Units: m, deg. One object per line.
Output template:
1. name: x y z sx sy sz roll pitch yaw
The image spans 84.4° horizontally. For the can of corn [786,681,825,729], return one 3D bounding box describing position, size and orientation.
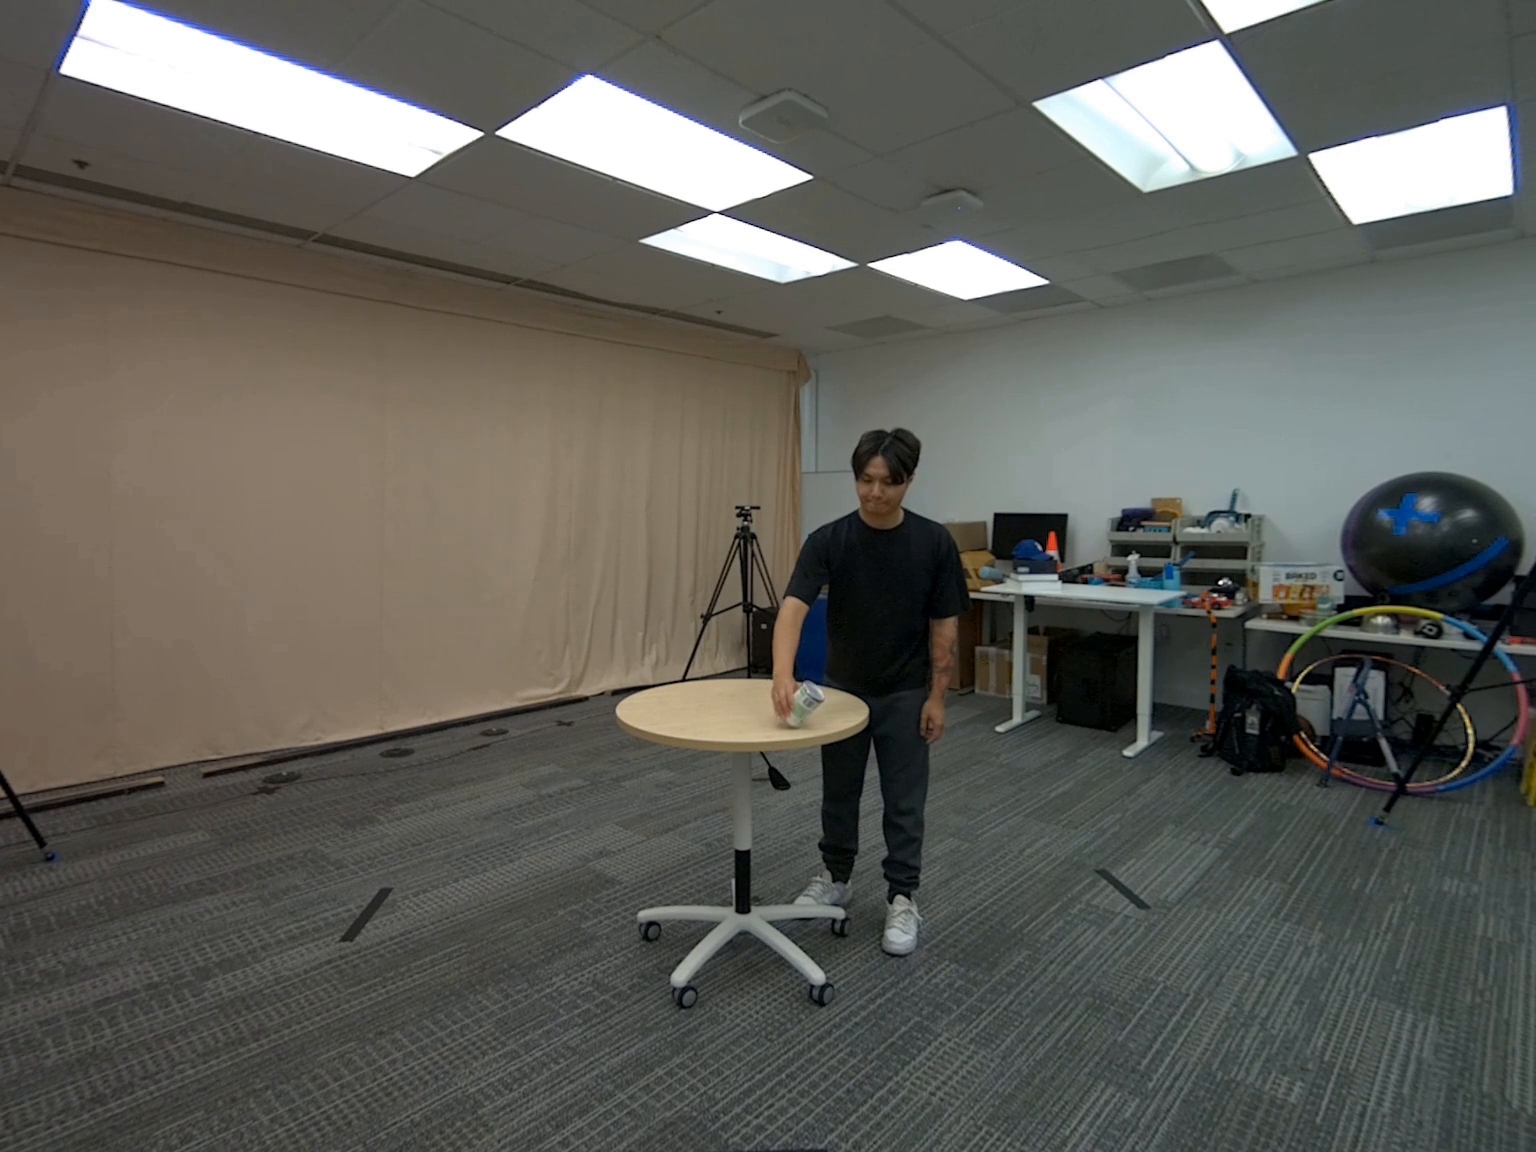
1. can of corn: 0.094 0.356 2.311 0.073 0.111 0.075 32 17 -13
